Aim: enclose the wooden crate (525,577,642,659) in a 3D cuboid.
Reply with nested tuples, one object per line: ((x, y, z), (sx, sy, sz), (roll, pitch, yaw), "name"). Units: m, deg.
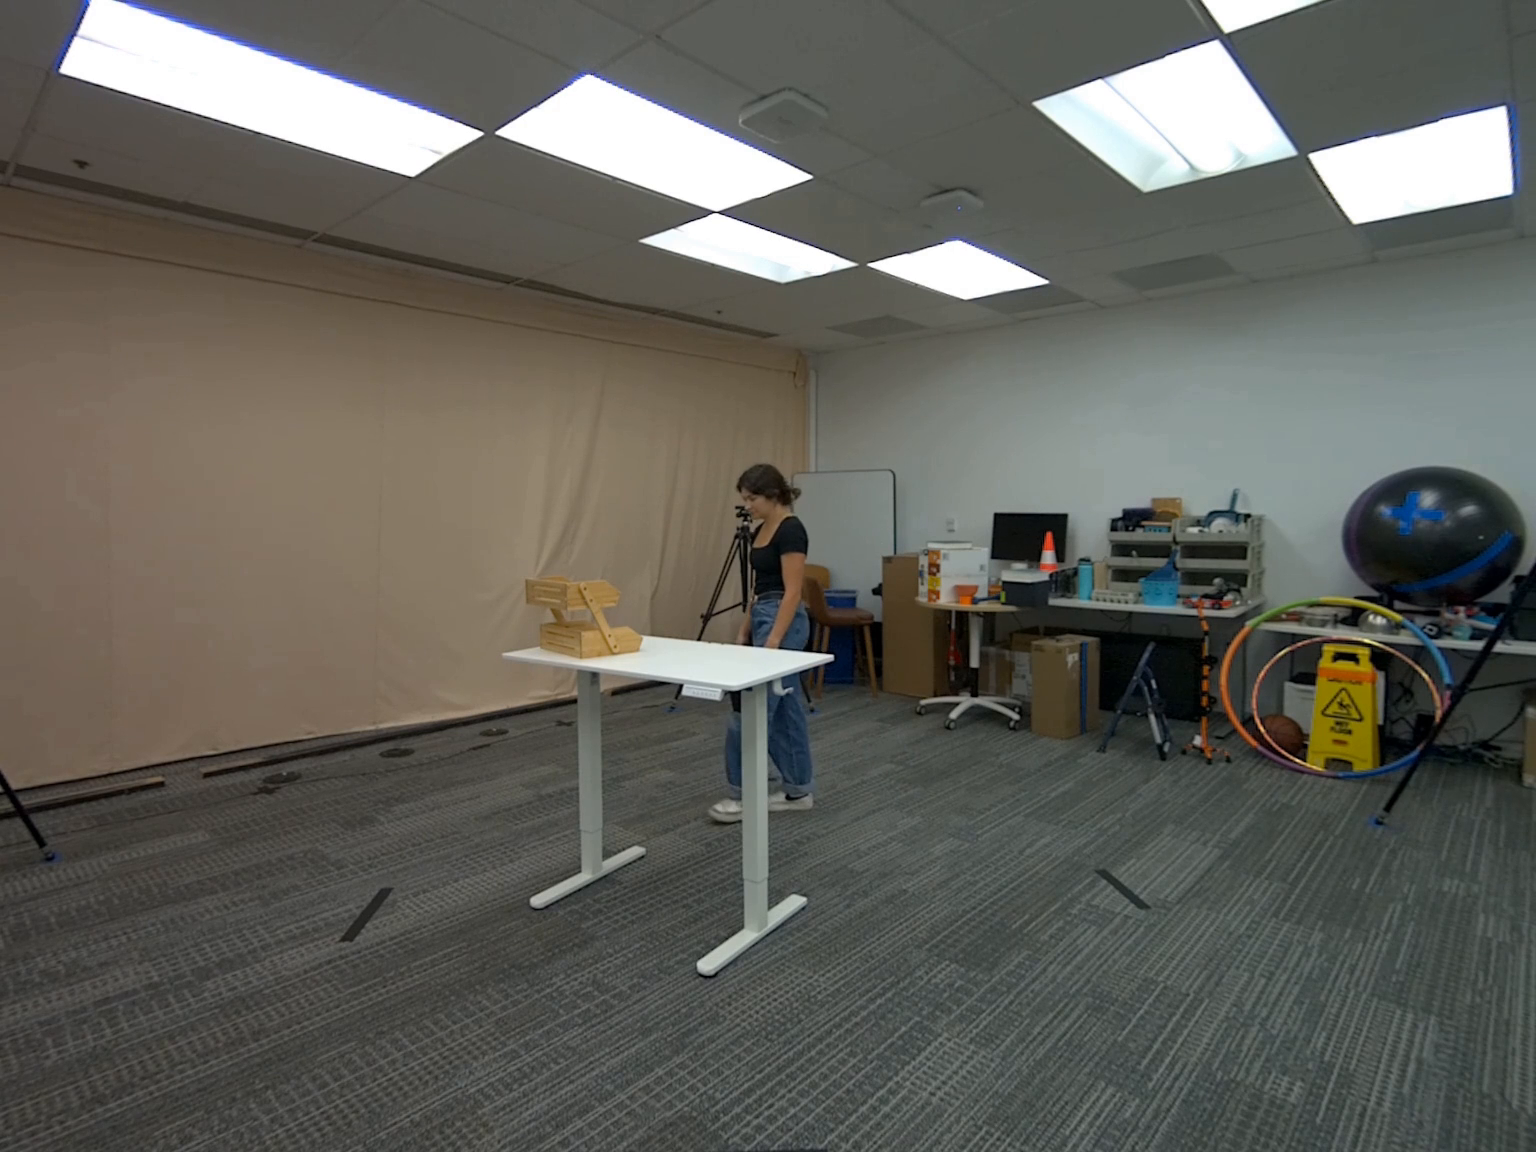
((-0.653, 0.135, 3.002), (0.293, 0.273, 0.335), (-5, 5, -40), "wooden crate")
